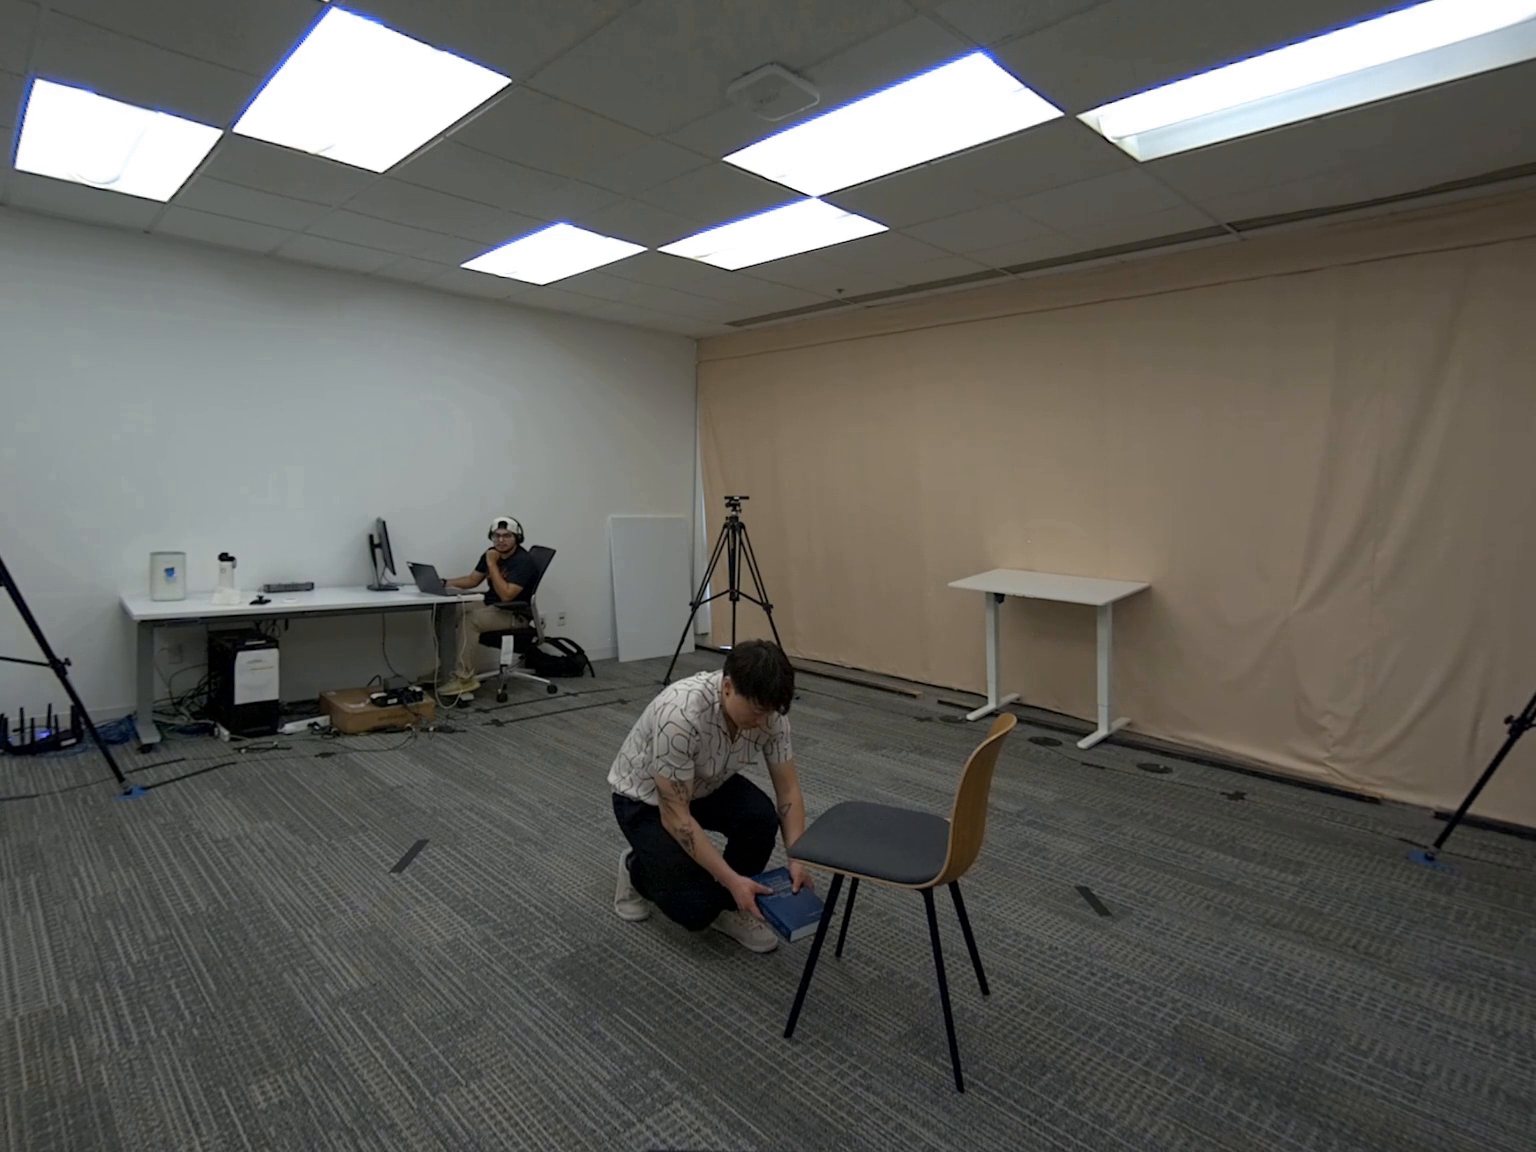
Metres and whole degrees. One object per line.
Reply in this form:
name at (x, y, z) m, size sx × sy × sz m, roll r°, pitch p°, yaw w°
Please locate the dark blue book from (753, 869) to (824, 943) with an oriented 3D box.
dark blue book at (0.047, 0.947, 2.390) m, size 0.160 × 0.045 × 0.251 m, roll -7°, pitch 11°, yaw -36°
